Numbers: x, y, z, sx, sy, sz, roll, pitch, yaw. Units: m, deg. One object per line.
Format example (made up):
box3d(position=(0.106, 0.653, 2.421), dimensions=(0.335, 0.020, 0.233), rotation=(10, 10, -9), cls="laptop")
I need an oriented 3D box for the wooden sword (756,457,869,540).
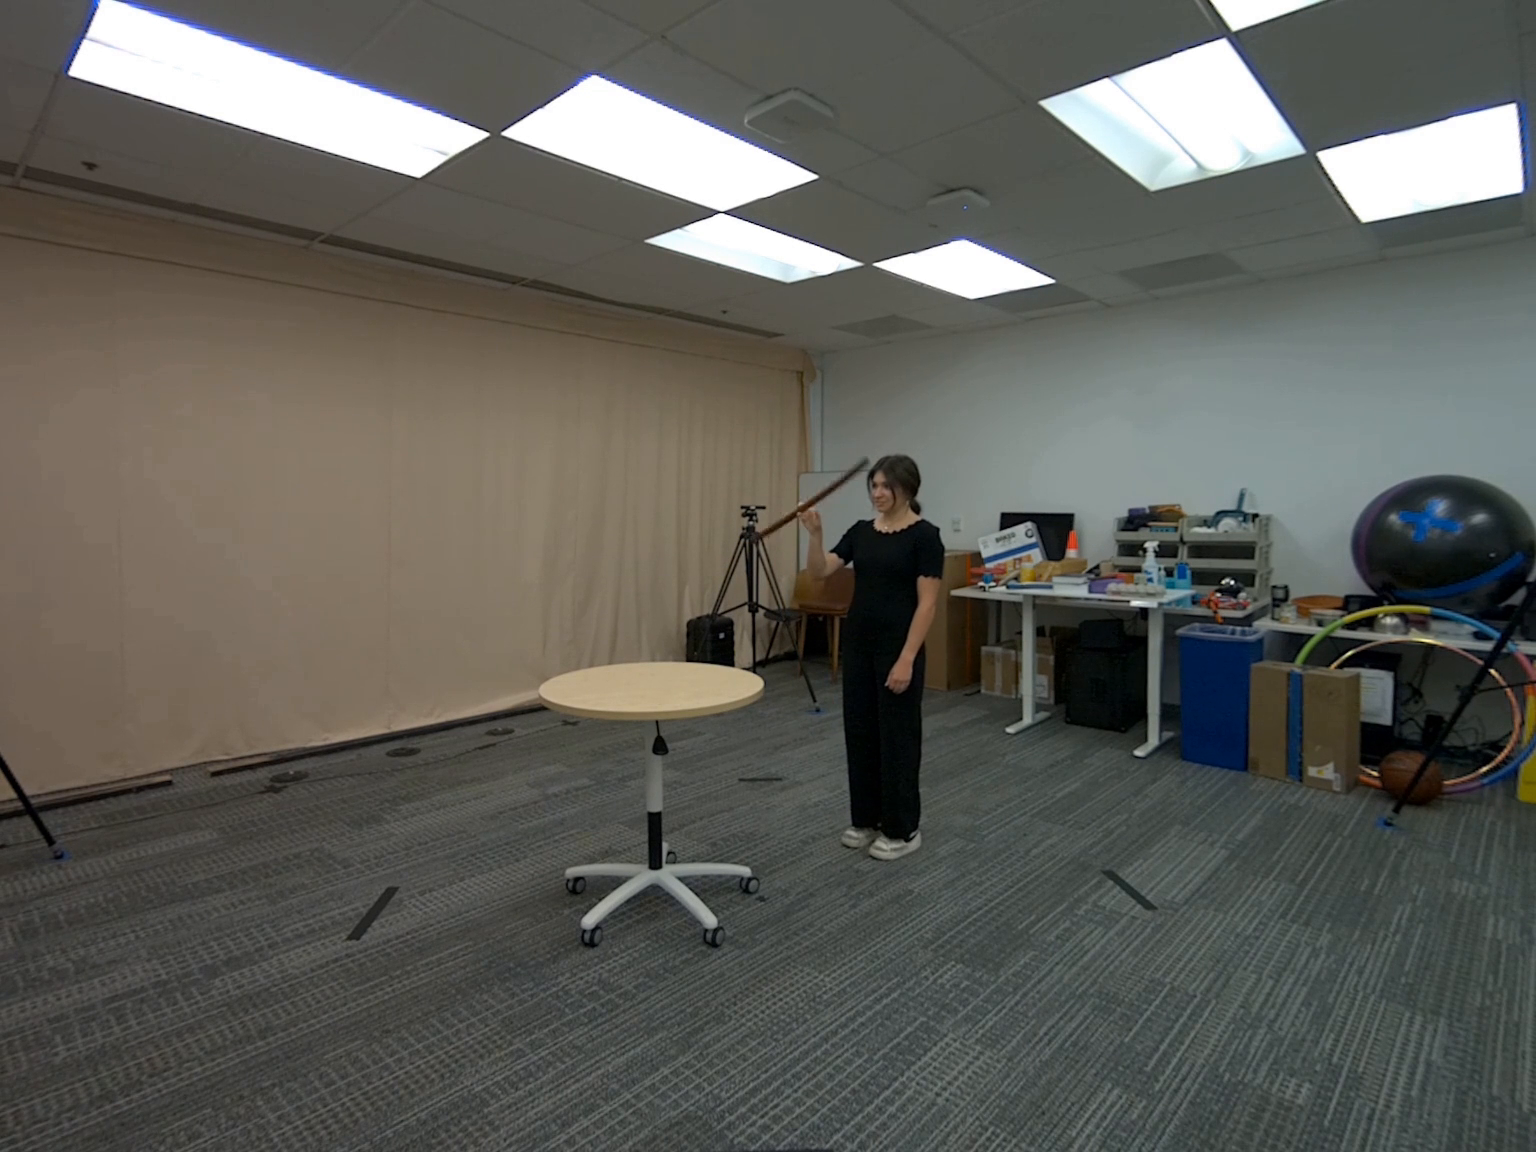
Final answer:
box3d(position=(0.138, -0.254, 3.233), dimensions=(0.023, 0.052, 1.037), rotation=(-14, -7, -25), cls="wooden sword")
